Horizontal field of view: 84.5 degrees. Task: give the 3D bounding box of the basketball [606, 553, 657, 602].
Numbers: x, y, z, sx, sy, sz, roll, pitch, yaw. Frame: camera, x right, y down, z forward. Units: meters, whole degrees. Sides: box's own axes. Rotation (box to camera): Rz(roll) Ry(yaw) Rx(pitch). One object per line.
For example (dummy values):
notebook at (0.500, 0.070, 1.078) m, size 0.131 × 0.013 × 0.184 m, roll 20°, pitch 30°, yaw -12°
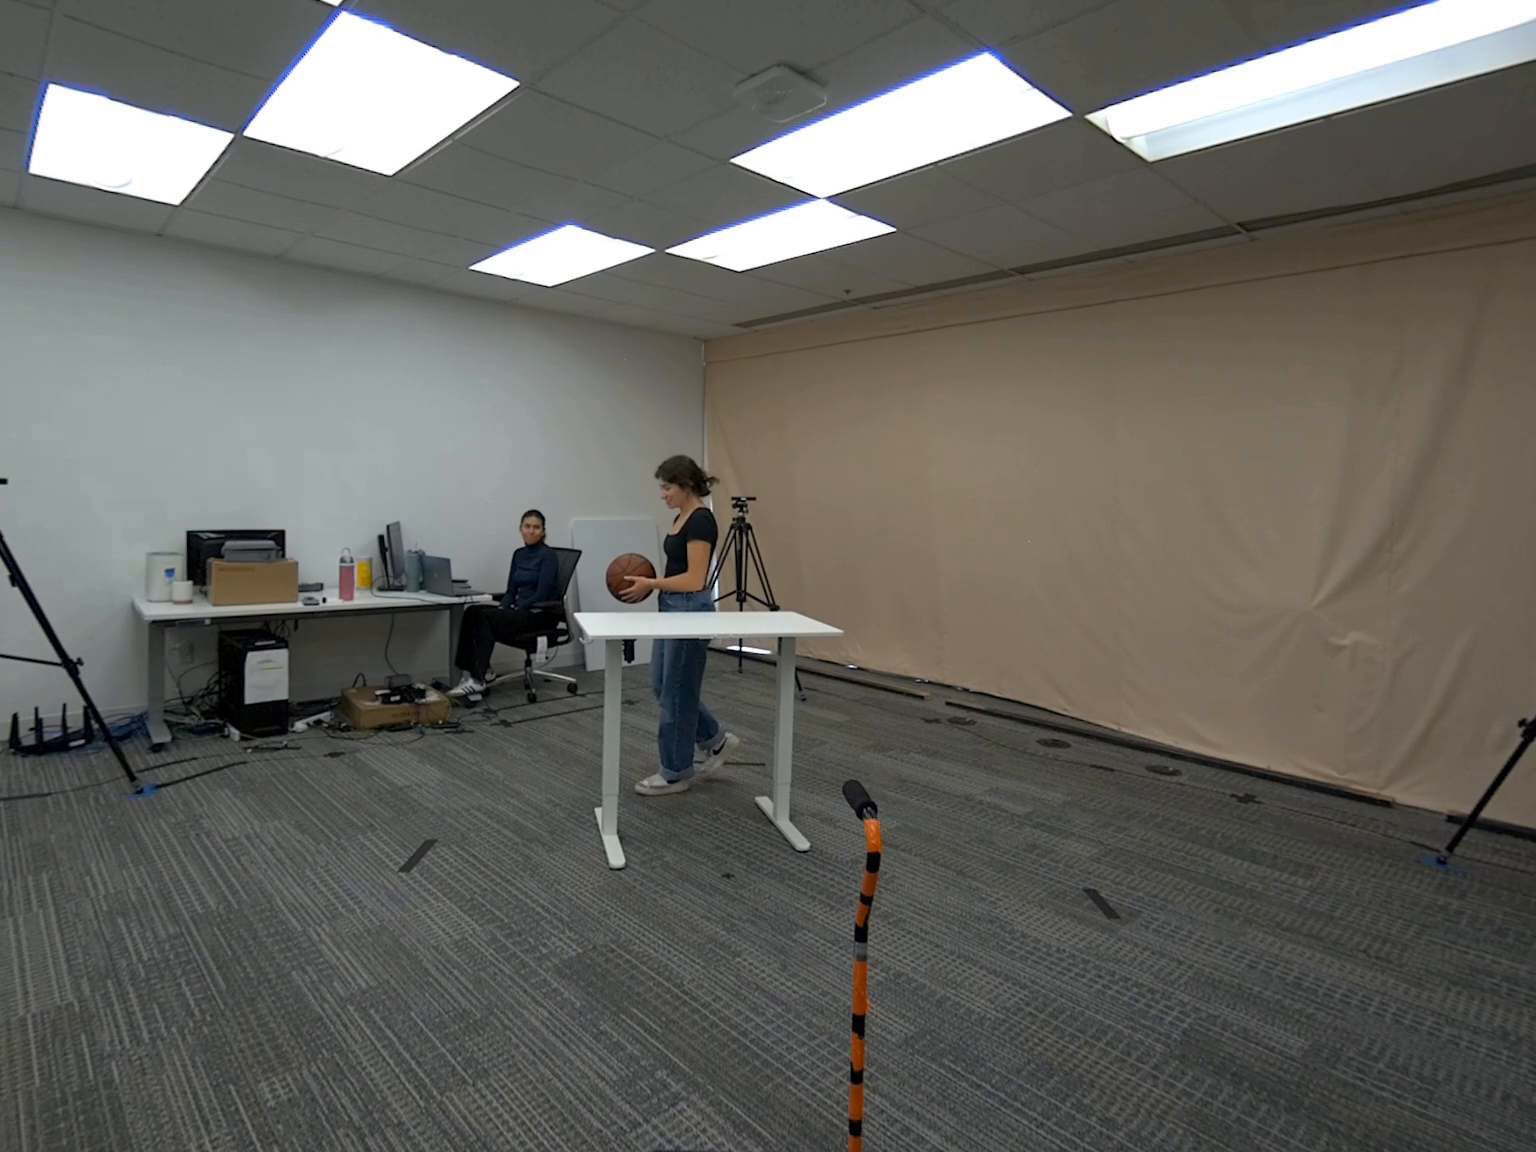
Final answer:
basketball at (-0.648, 0.009, 3.967) m, size 0.236 × 0.235 × 0.237 m, roll 1°, pitch 4°, yaw -1°
